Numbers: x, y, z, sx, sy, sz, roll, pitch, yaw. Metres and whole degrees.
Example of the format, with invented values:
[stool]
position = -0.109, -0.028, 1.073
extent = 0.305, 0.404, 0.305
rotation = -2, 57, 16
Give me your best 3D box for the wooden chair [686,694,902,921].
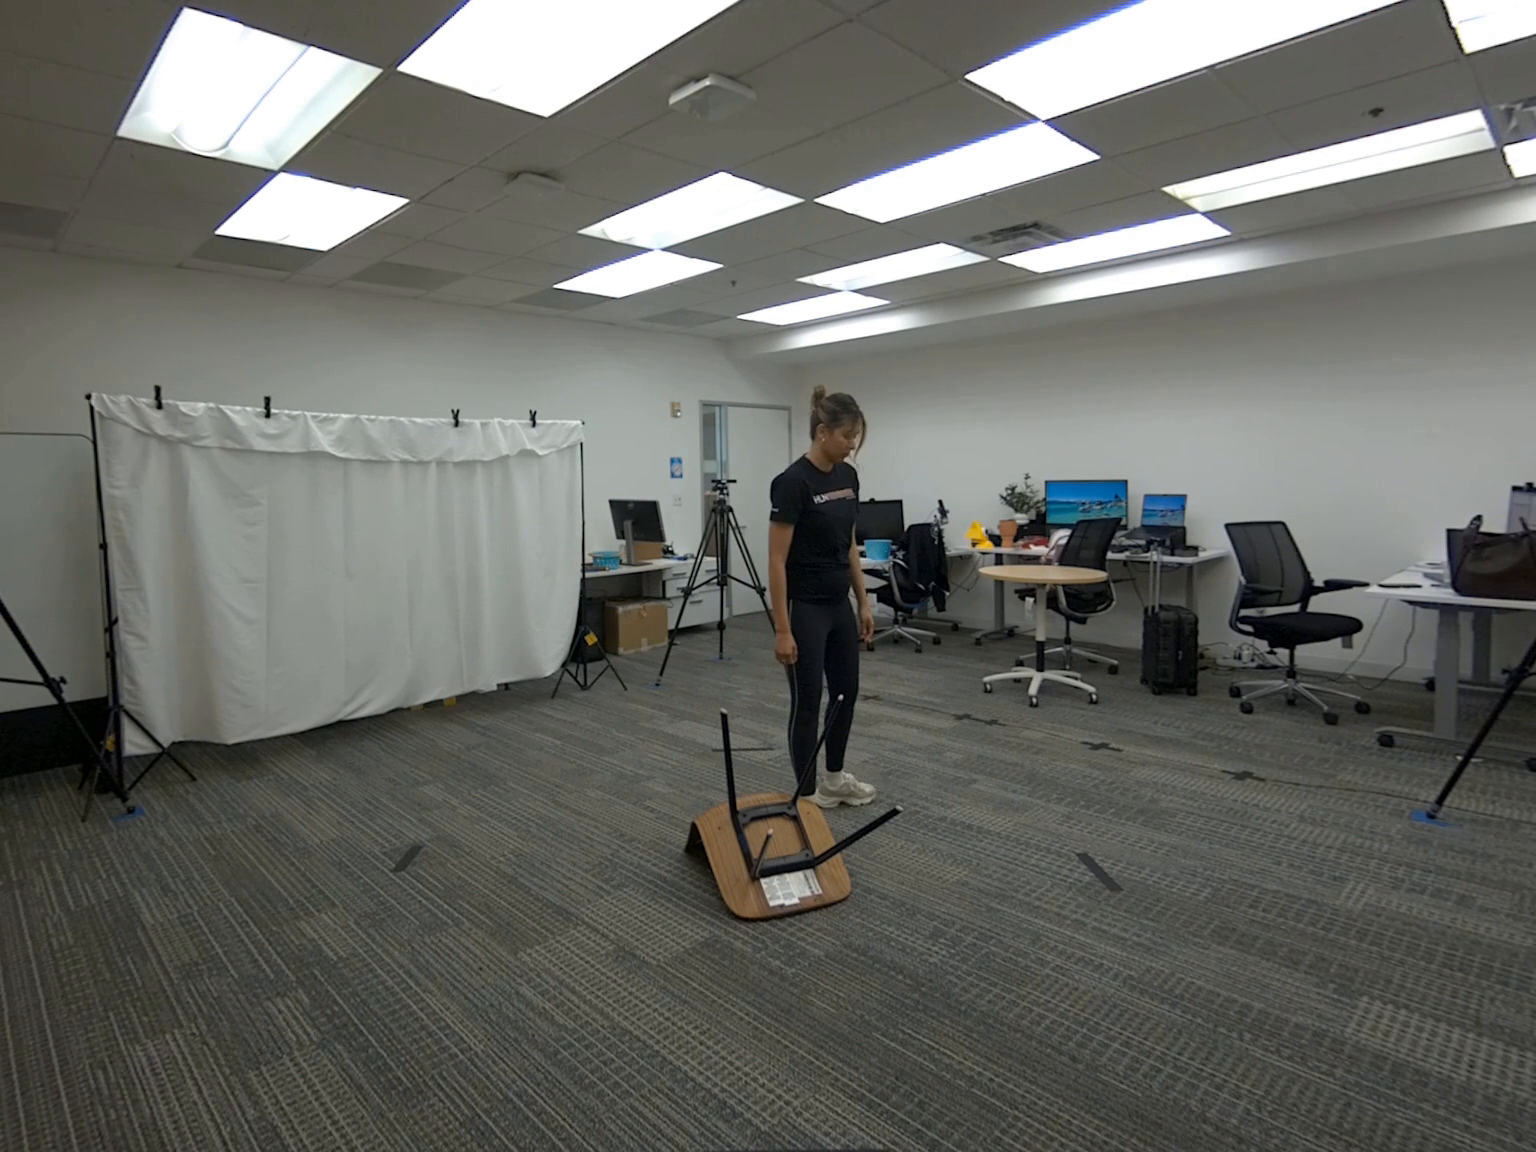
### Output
[wooden chair]
position = 0.021, 0.897, 2.913
extent = 0.468, 0.864, 0.542
rotation = -2, 46, -25
